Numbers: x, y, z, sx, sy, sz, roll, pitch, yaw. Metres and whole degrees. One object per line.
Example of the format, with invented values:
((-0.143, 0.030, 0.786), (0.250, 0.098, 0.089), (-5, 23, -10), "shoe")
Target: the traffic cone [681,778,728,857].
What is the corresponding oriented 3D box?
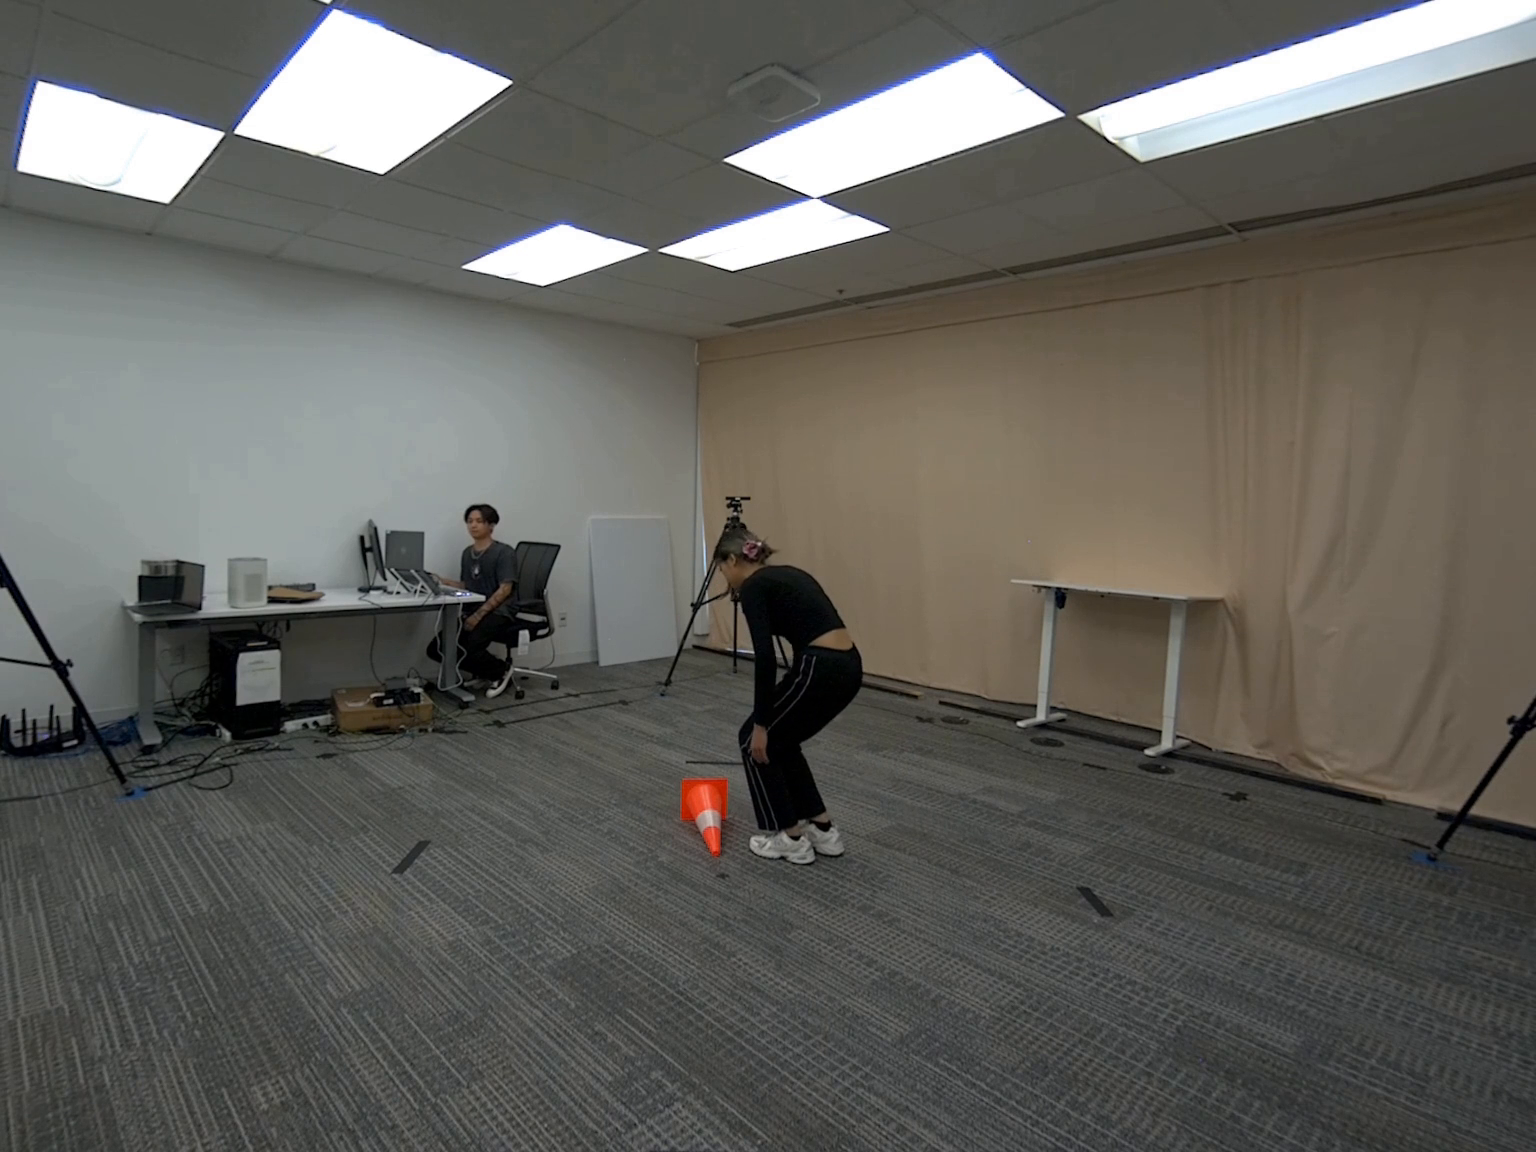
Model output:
((-0.237, 1.028, 3.446), (0.201, 0.202, 0.392), (-1, 19, -11), "traffic cone")
